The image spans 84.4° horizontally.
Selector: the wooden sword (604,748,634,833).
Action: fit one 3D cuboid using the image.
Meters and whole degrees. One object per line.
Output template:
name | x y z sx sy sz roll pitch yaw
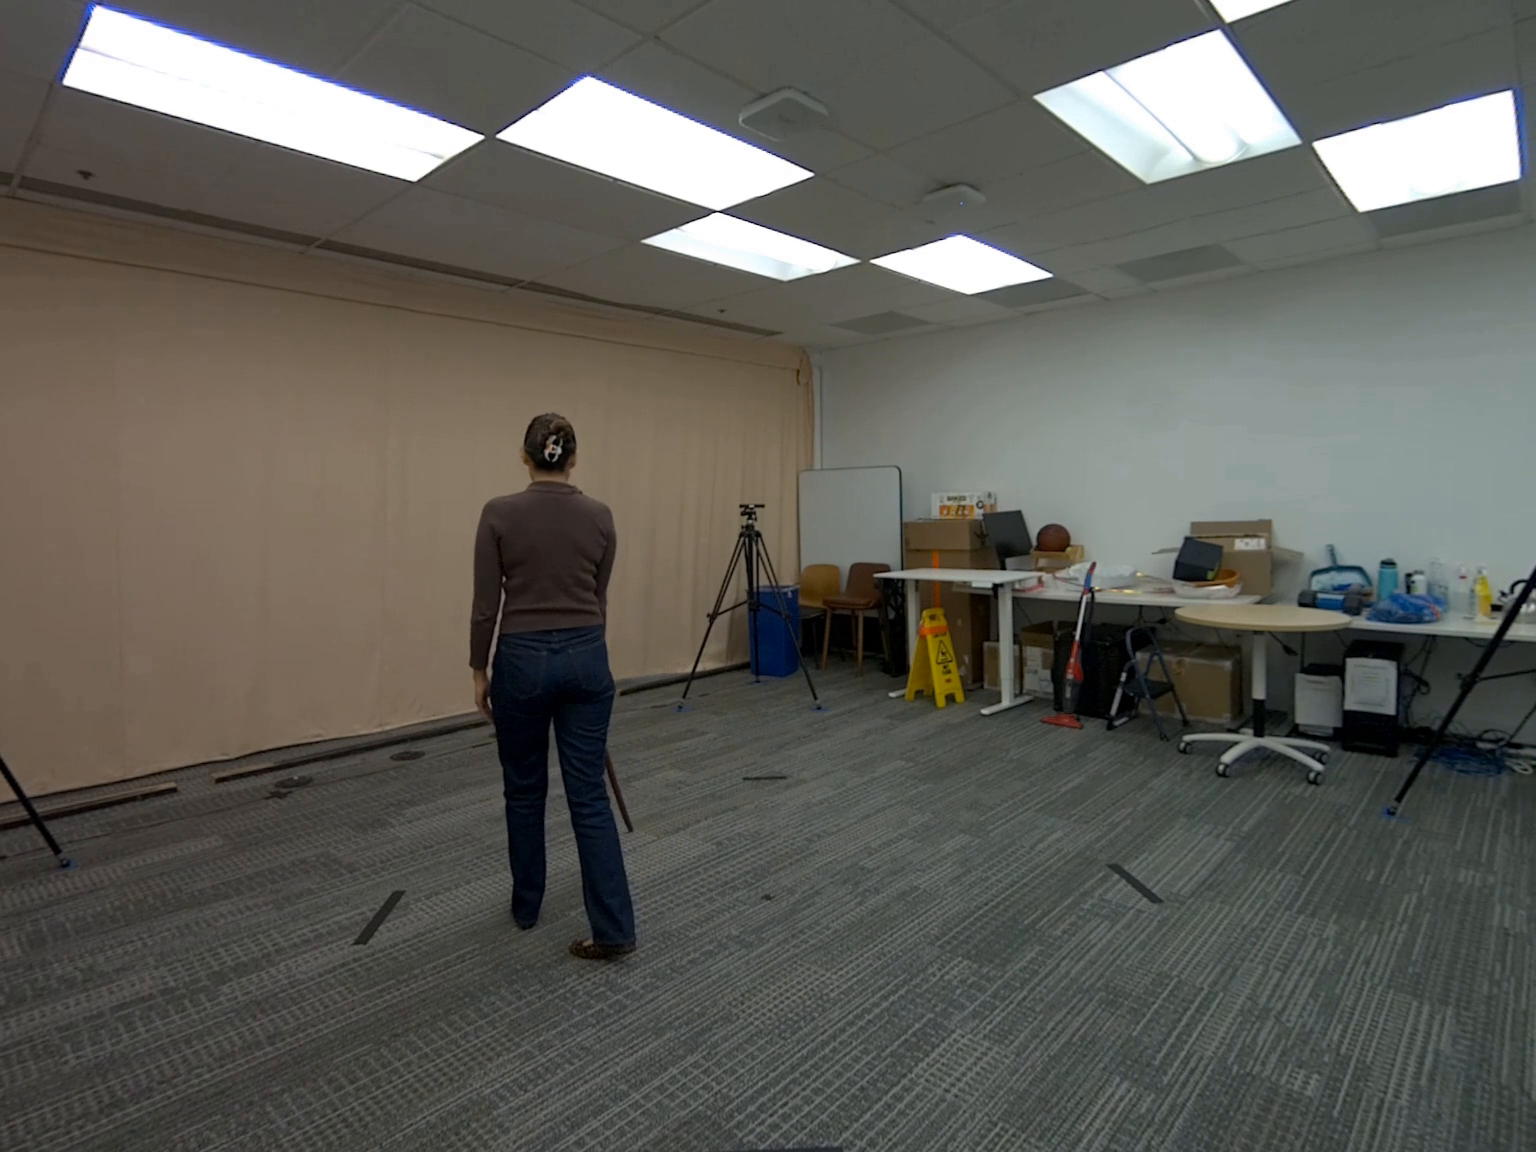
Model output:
wooden sword | -0.626 0.742 3.295 0.051 1.004 0.025 -12 43 -11
